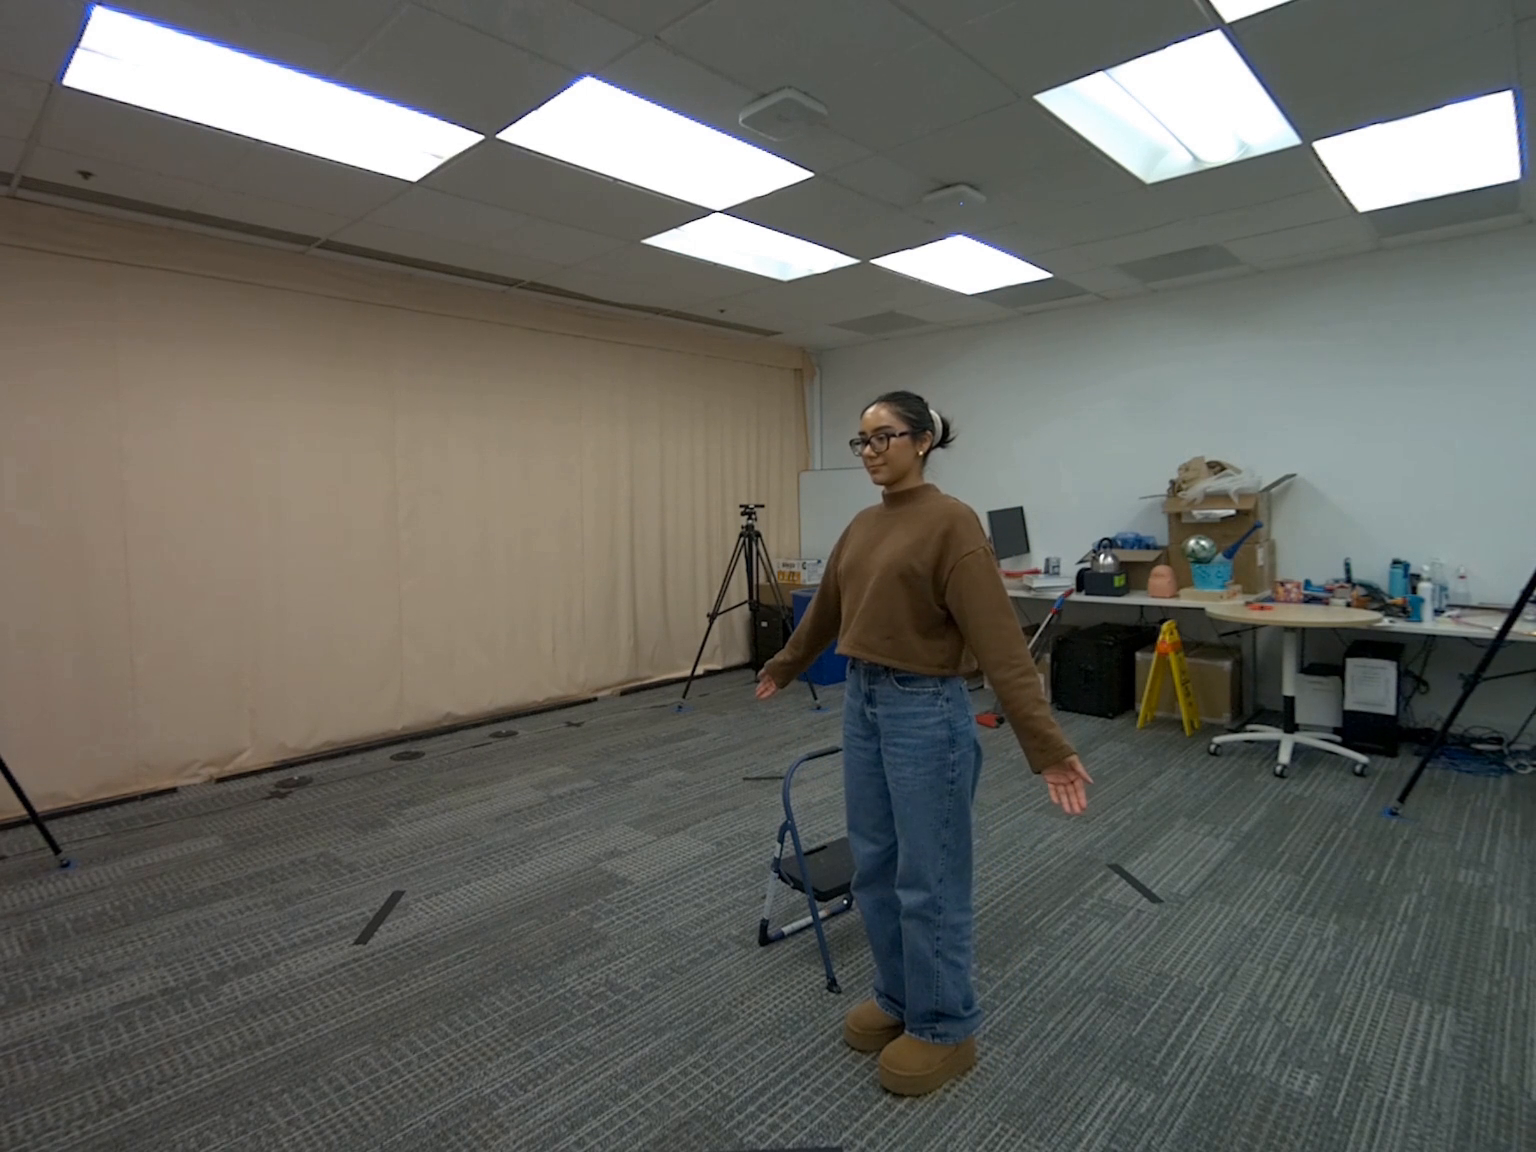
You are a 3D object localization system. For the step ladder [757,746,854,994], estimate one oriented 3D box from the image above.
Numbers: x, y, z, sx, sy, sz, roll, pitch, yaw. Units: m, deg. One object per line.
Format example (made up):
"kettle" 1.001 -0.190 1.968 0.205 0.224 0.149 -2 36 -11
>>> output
"step ladder" 0.234 0.863 2.638 0.417 0.605 0.361 -4 4 -41
